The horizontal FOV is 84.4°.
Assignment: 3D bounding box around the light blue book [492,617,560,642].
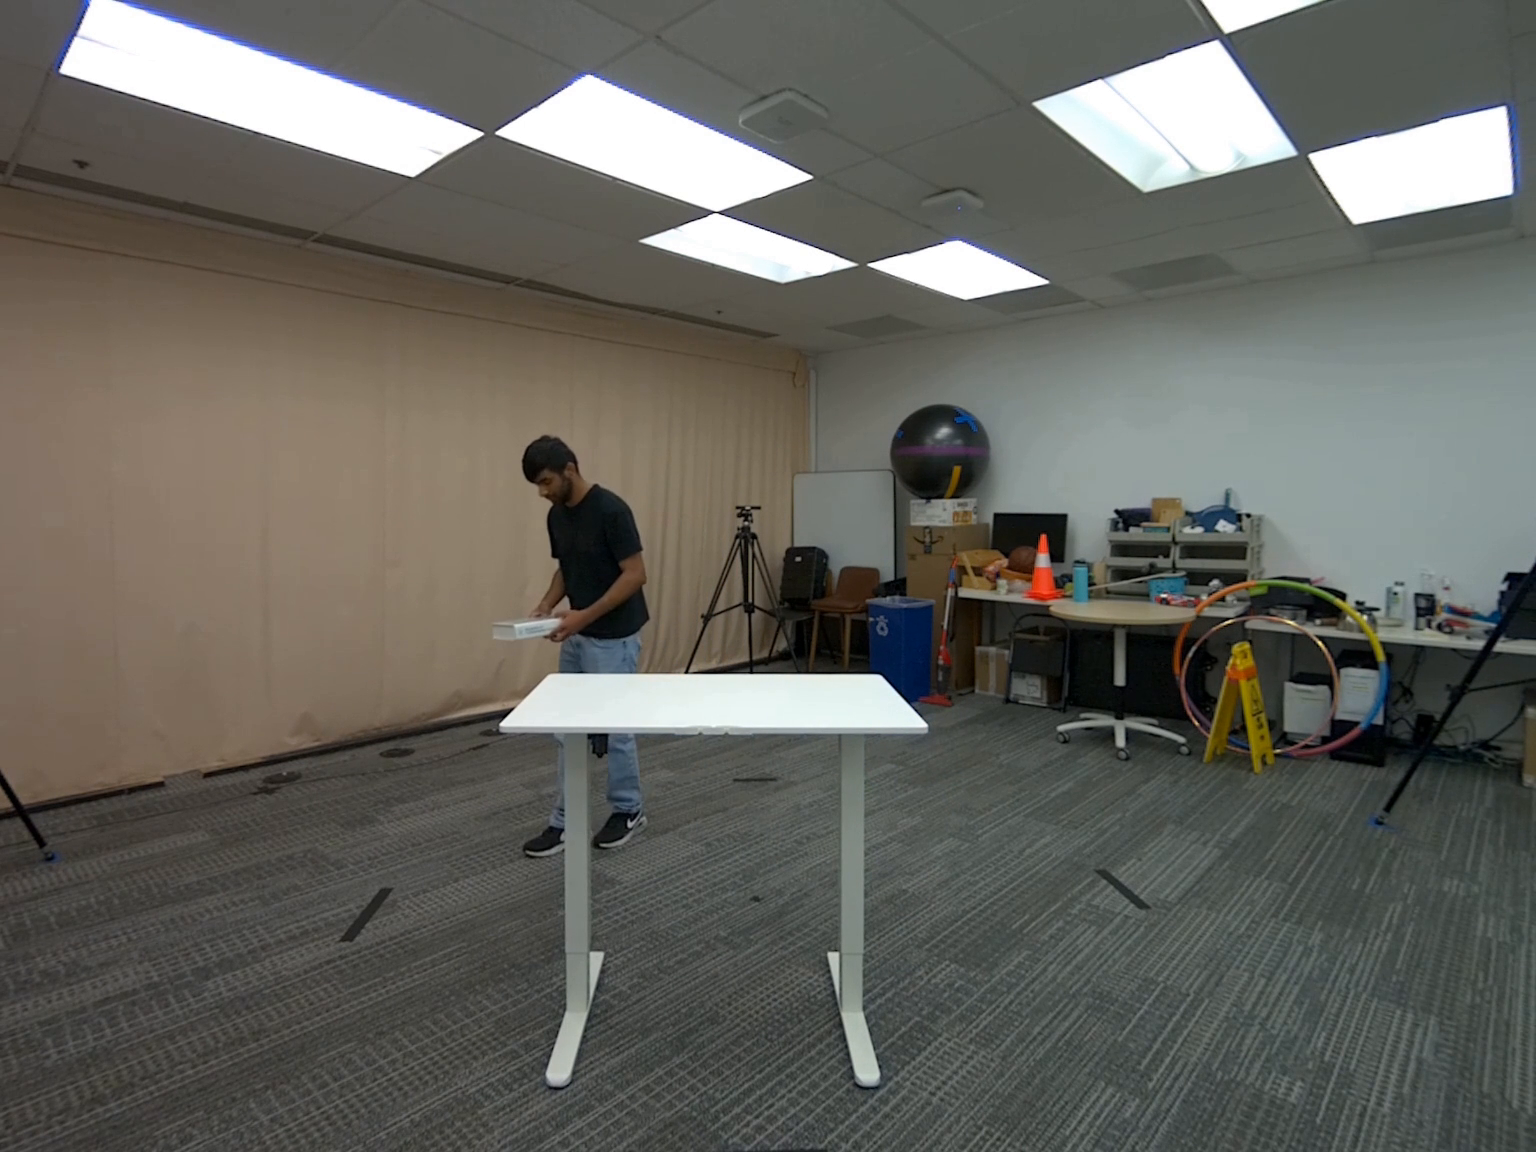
[{"bbox_3d":[-0.916,0.201,3.257,0.197,0.059,0.253,1,5,40],"label":"light blue book"}]
